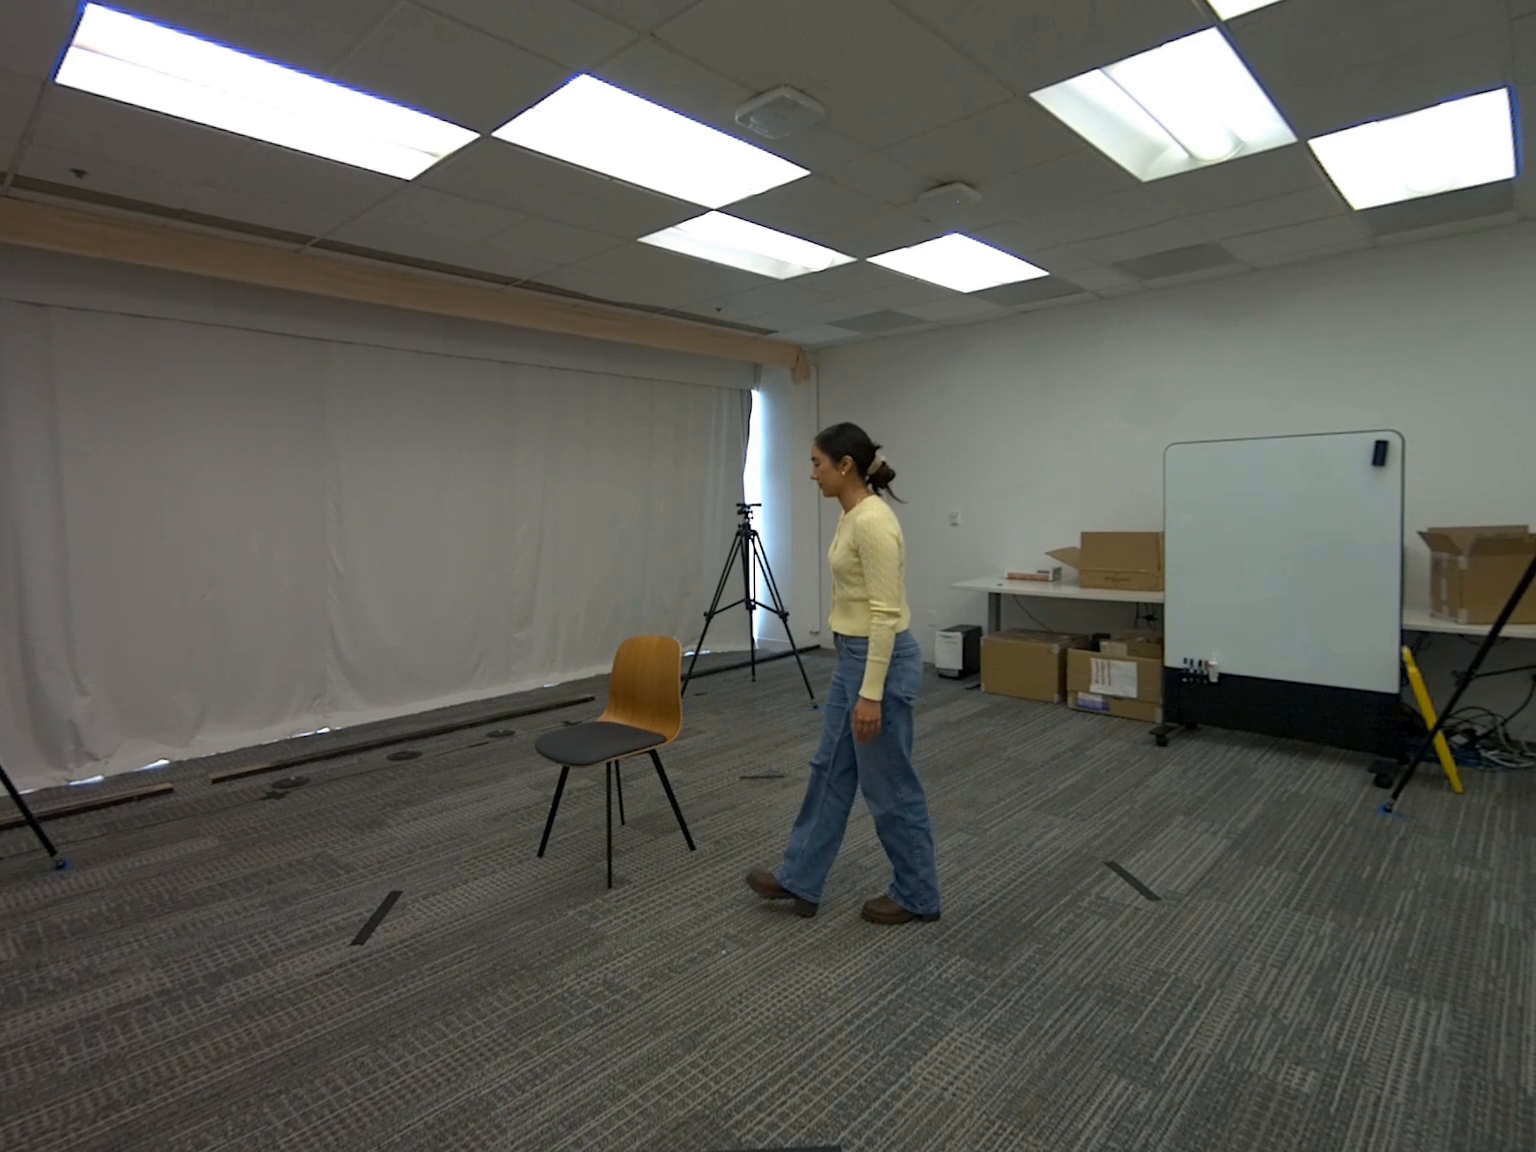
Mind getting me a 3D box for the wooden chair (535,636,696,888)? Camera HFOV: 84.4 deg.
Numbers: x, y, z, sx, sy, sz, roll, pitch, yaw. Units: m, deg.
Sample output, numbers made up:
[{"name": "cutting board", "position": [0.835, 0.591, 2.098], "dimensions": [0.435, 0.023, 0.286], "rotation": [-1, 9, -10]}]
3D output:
[{"name": "wooden chair", "position": [-0.617, 0.690, 3.350], "dimensions": [0.494, 0.877, 0.506], "rotation": [2, 0, 41]}]
